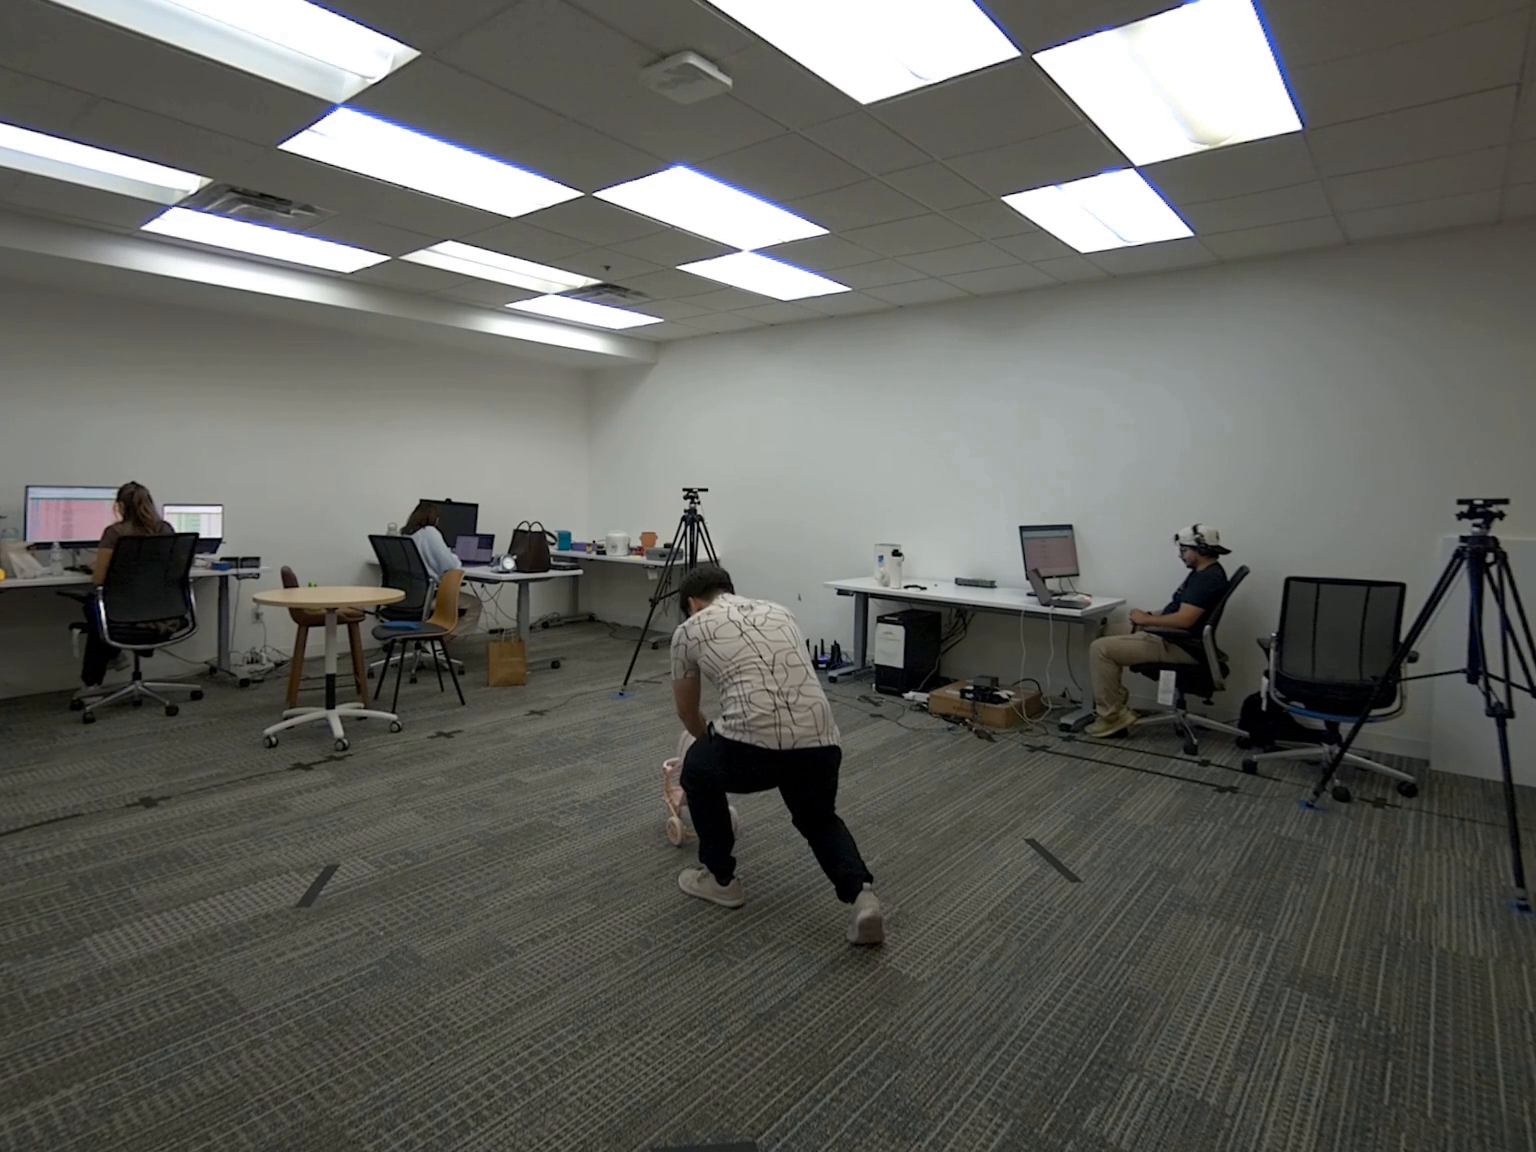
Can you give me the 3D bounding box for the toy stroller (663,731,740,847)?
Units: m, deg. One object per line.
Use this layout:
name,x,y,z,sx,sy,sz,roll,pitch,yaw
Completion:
toy stroller,-0.292,0.813,3.419,0.274,0.527,0.355,0,21,-27
